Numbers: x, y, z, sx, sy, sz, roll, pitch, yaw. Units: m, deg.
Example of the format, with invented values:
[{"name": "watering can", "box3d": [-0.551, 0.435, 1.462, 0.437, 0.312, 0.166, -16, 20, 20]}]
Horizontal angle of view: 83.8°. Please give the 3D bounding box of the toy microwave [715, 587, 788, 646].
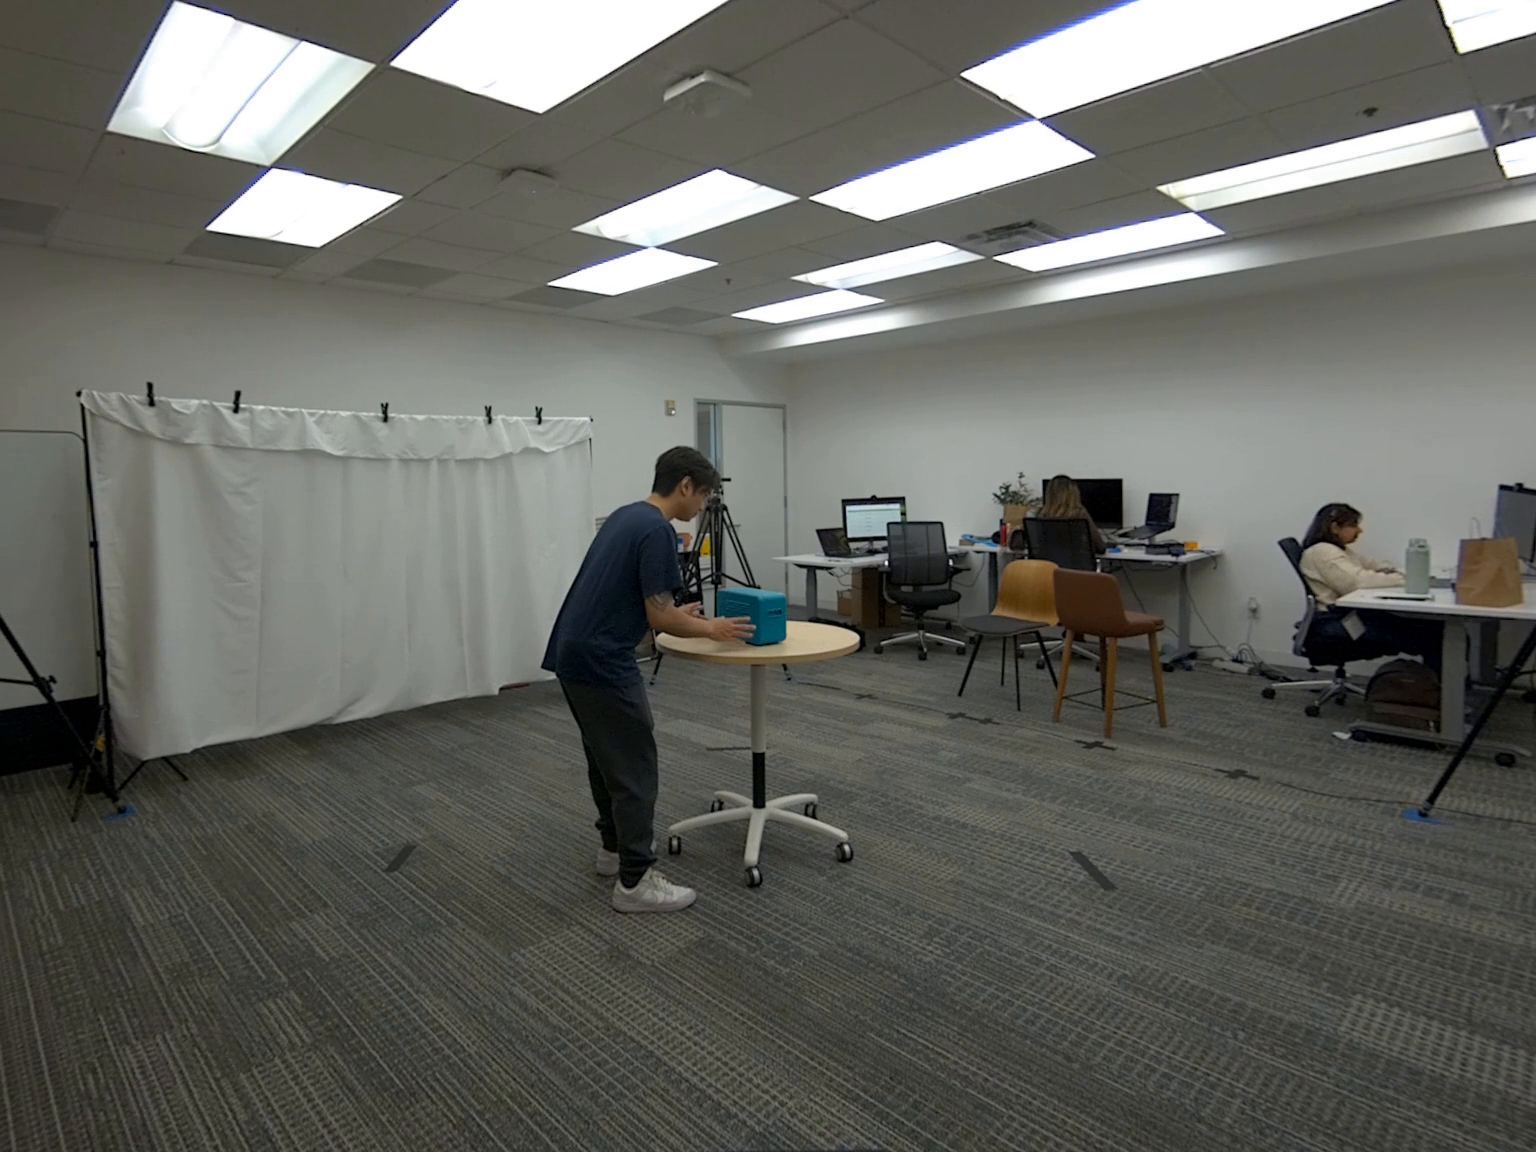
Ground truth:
[{"name": "toy microwave", "box3d": [-0.060, 0.143, 3.155, 0.148, 0.183, 0.295, -3, 6, -35]}]
